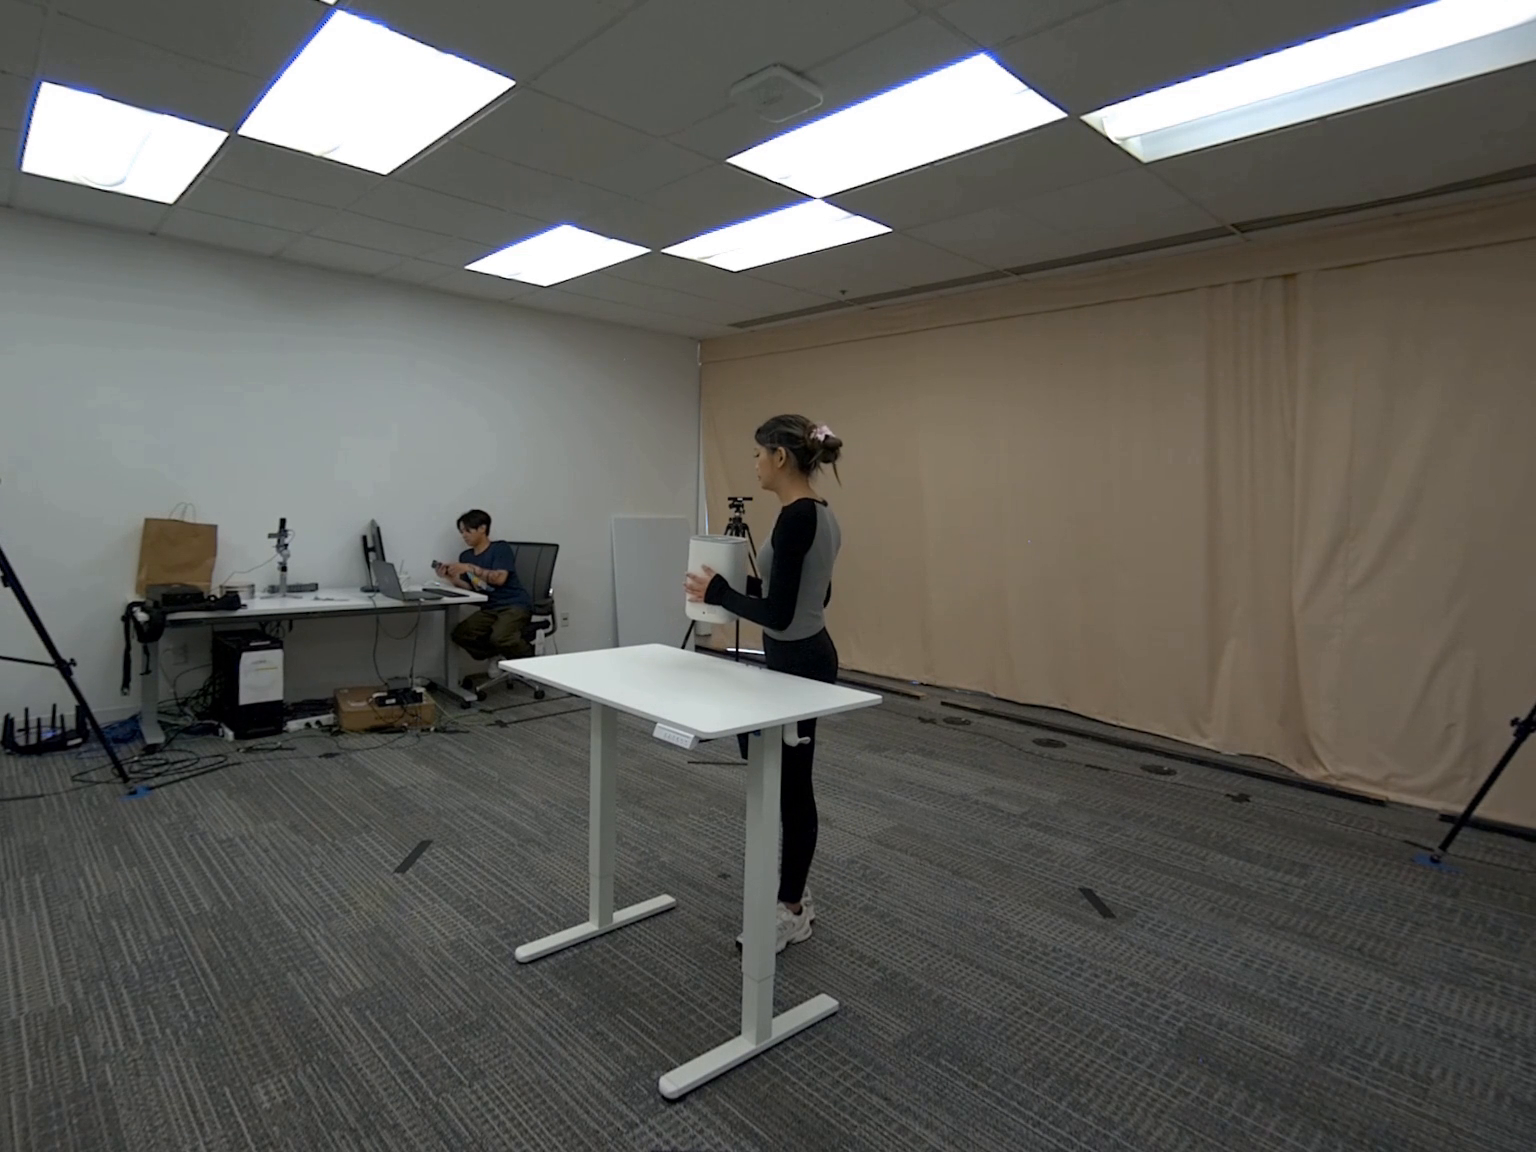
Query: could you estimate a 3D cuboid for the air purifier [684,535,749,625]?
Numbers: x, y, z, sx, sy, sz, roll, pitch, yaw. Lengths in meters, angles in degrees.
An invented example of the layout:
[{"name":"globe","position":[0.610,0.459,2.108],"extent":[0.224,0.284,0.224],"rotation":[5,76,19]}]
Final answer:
[{"name":"air purifier","position":[-0.161,0.013,2.708],"extent":[0.174,0.264,0.170],"rotation":[7,8,18]}]
